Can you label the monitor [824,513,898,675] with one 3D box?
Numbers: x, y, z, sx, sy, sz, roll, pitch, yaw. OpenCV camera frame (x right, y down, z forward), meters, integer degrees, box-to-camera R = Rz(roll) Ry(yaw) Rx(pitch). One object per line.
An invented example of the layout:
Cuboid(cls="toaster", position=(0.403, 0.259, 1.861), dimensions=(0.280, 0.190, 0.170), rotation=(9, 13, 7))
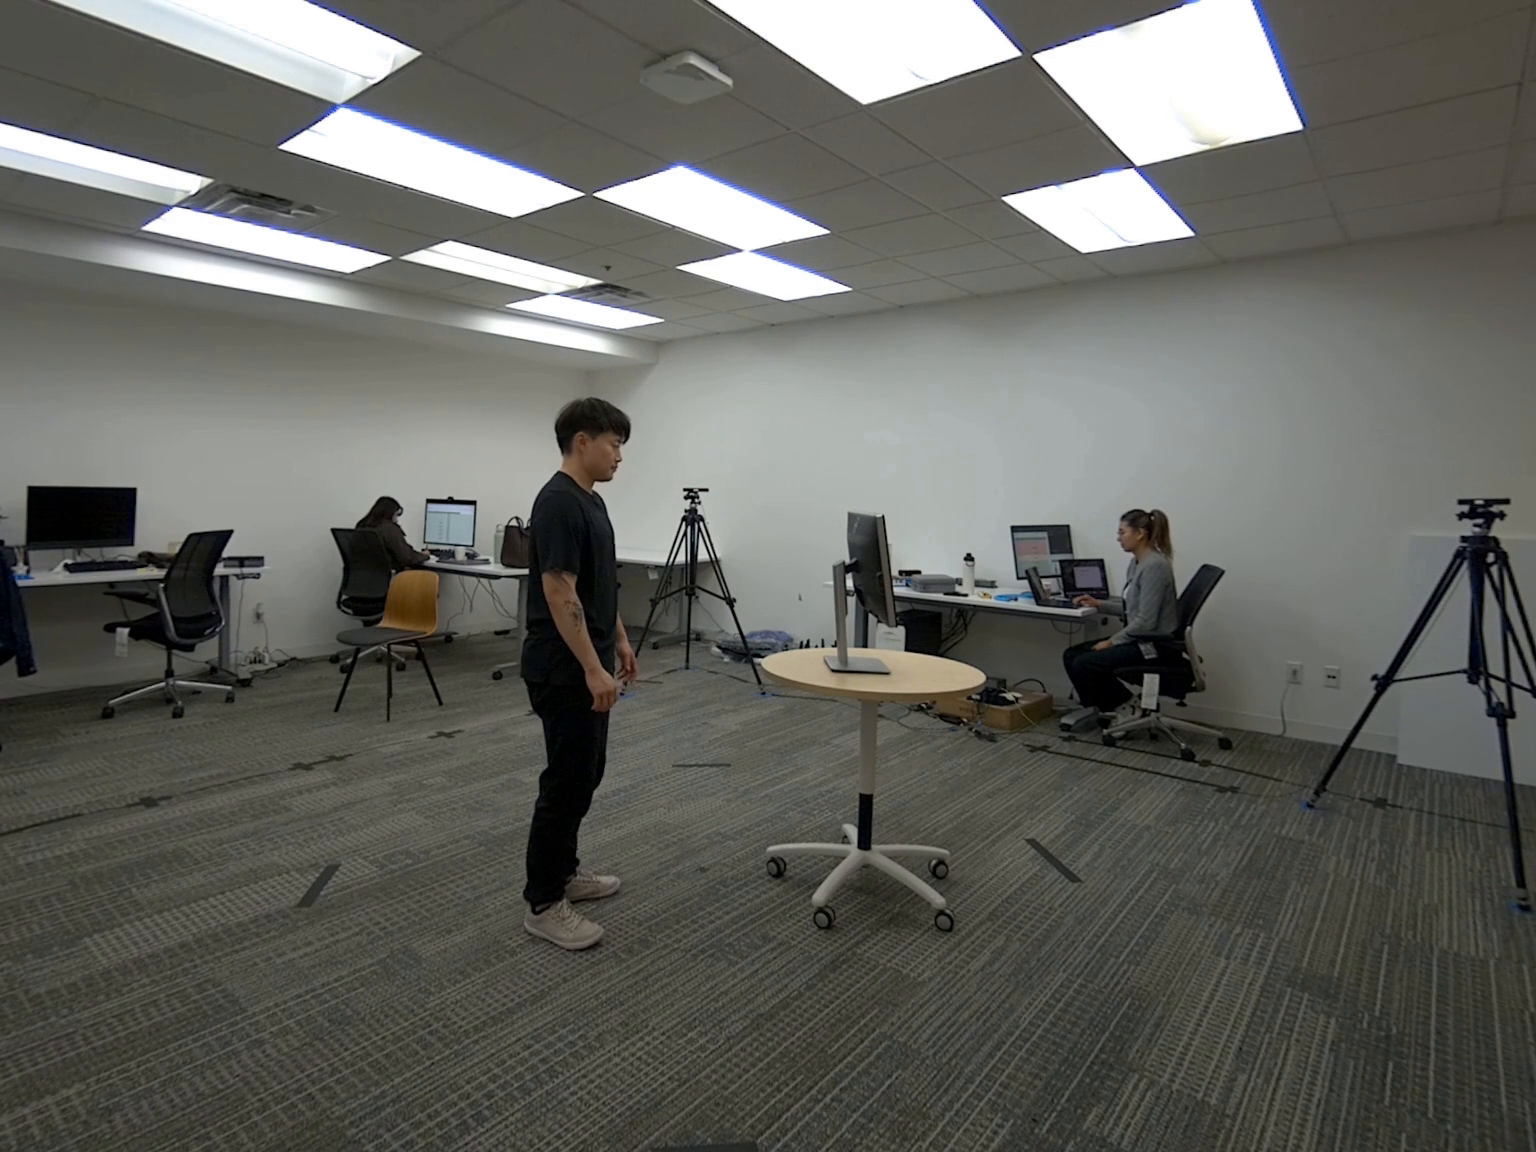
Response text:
Cuboid(cls="monitor", position=(0.306, 0.056, 2.958), dimensions=(0.186, 0.521, 0.544), rotation=(3, 4, -7))
